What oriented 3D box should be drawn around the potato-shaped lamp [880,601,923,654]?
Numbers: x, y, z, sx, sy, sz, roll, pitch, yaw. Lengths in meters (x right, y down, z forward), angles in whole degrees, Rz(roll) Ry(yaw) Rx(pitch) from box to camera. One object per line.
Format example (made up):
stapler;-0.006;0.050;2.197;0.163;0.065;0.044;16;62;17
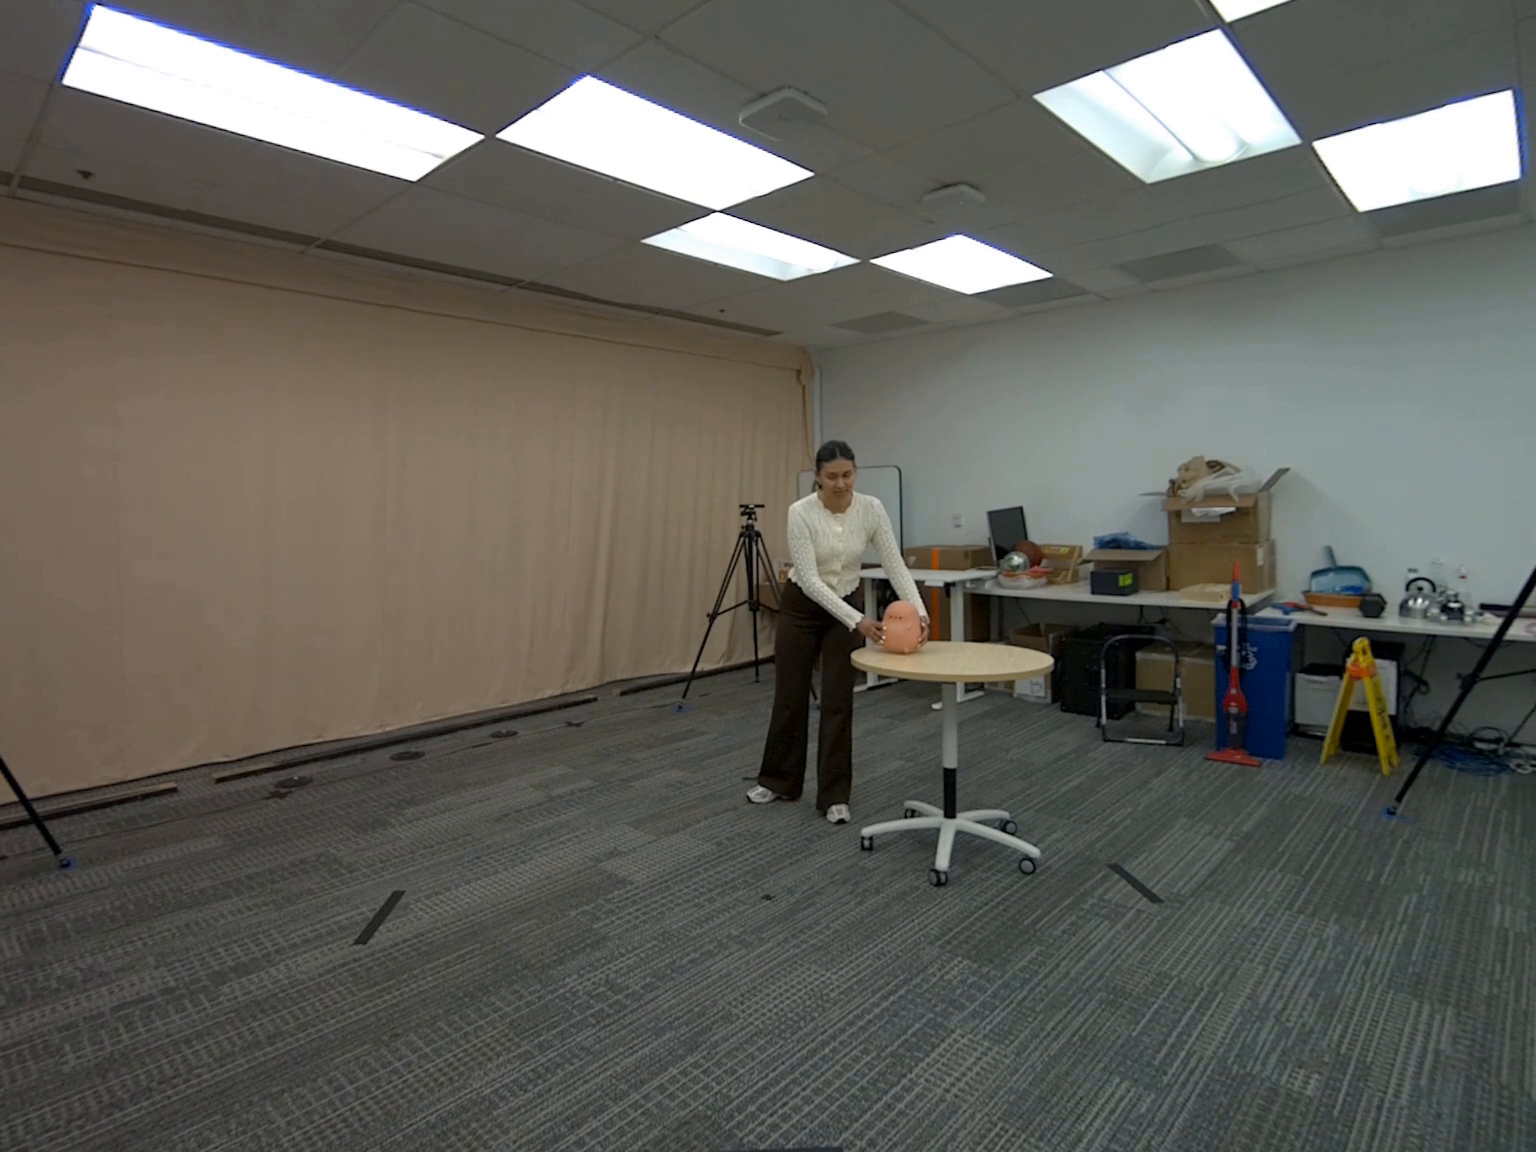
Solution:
potato-shaped lamp;0.538;0.197;3.410;0.170;0.197;0.167;-3;5;38
